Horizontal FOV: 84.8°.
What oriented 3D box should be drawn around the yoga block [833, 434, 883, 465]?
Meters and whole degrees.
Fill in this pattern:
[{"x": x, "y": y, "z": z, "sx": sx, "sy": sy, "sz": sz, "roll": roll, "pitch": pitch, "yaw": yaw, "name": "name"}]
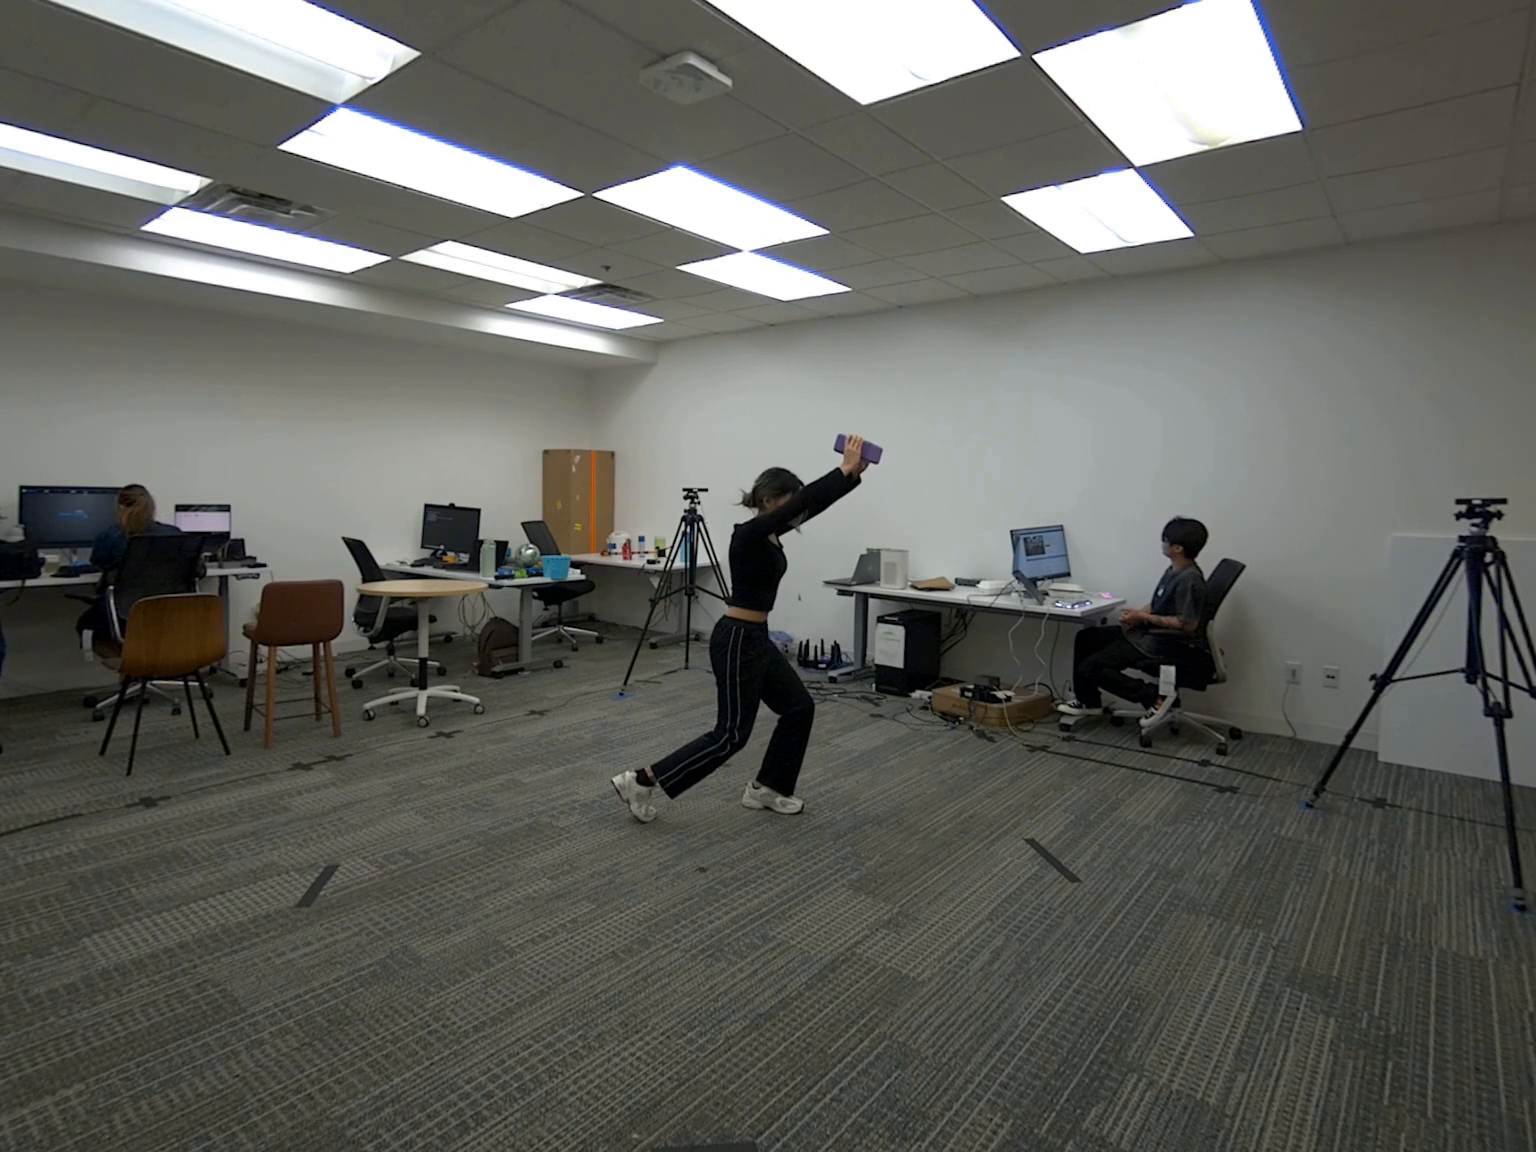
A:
[{"x": 0.368, "y": -0.534, "z": 3.555, "sx": 0.153, "sy": 0.076, "sz": 0.224, "roll": 19, "pitch": 6, "yaw": 18, "name": "yoga block"}]
